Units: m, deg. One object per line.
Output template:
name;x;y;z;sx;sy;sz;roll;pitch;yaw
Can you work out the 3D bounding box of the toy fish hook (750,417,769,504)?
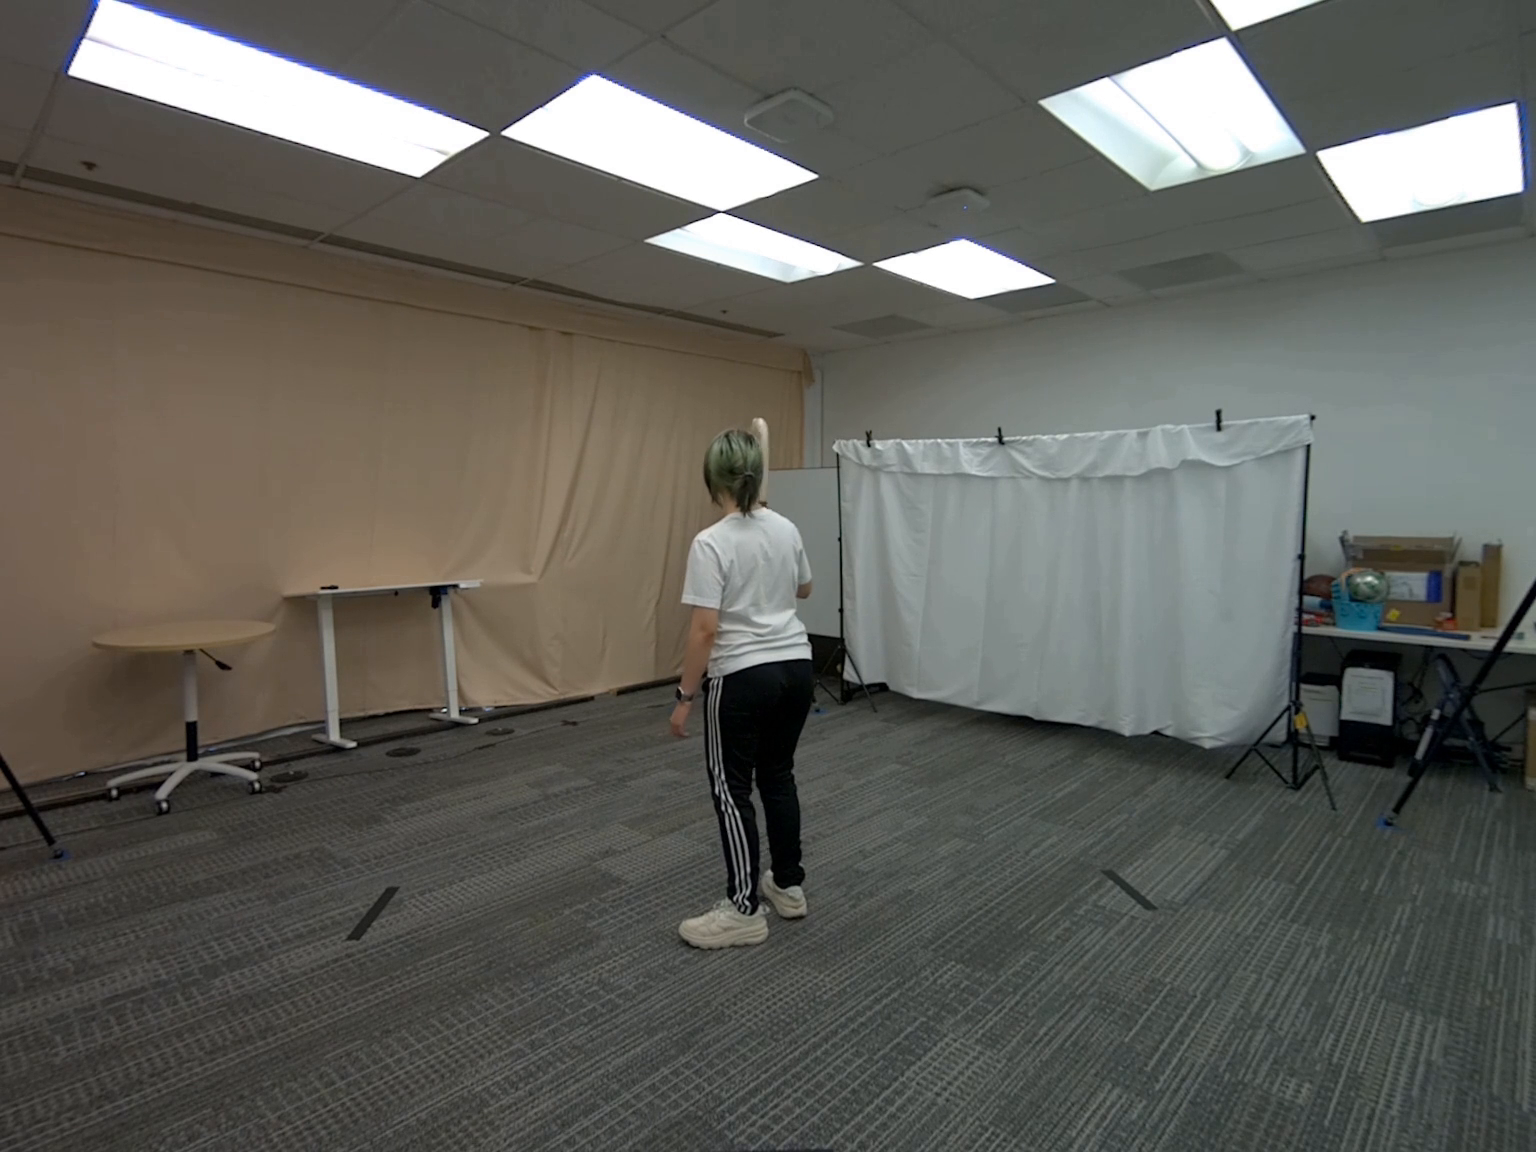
toy fish hook;-0.039;-0.336;3.200;0.048;0.504;0.228;-1;7;-12
